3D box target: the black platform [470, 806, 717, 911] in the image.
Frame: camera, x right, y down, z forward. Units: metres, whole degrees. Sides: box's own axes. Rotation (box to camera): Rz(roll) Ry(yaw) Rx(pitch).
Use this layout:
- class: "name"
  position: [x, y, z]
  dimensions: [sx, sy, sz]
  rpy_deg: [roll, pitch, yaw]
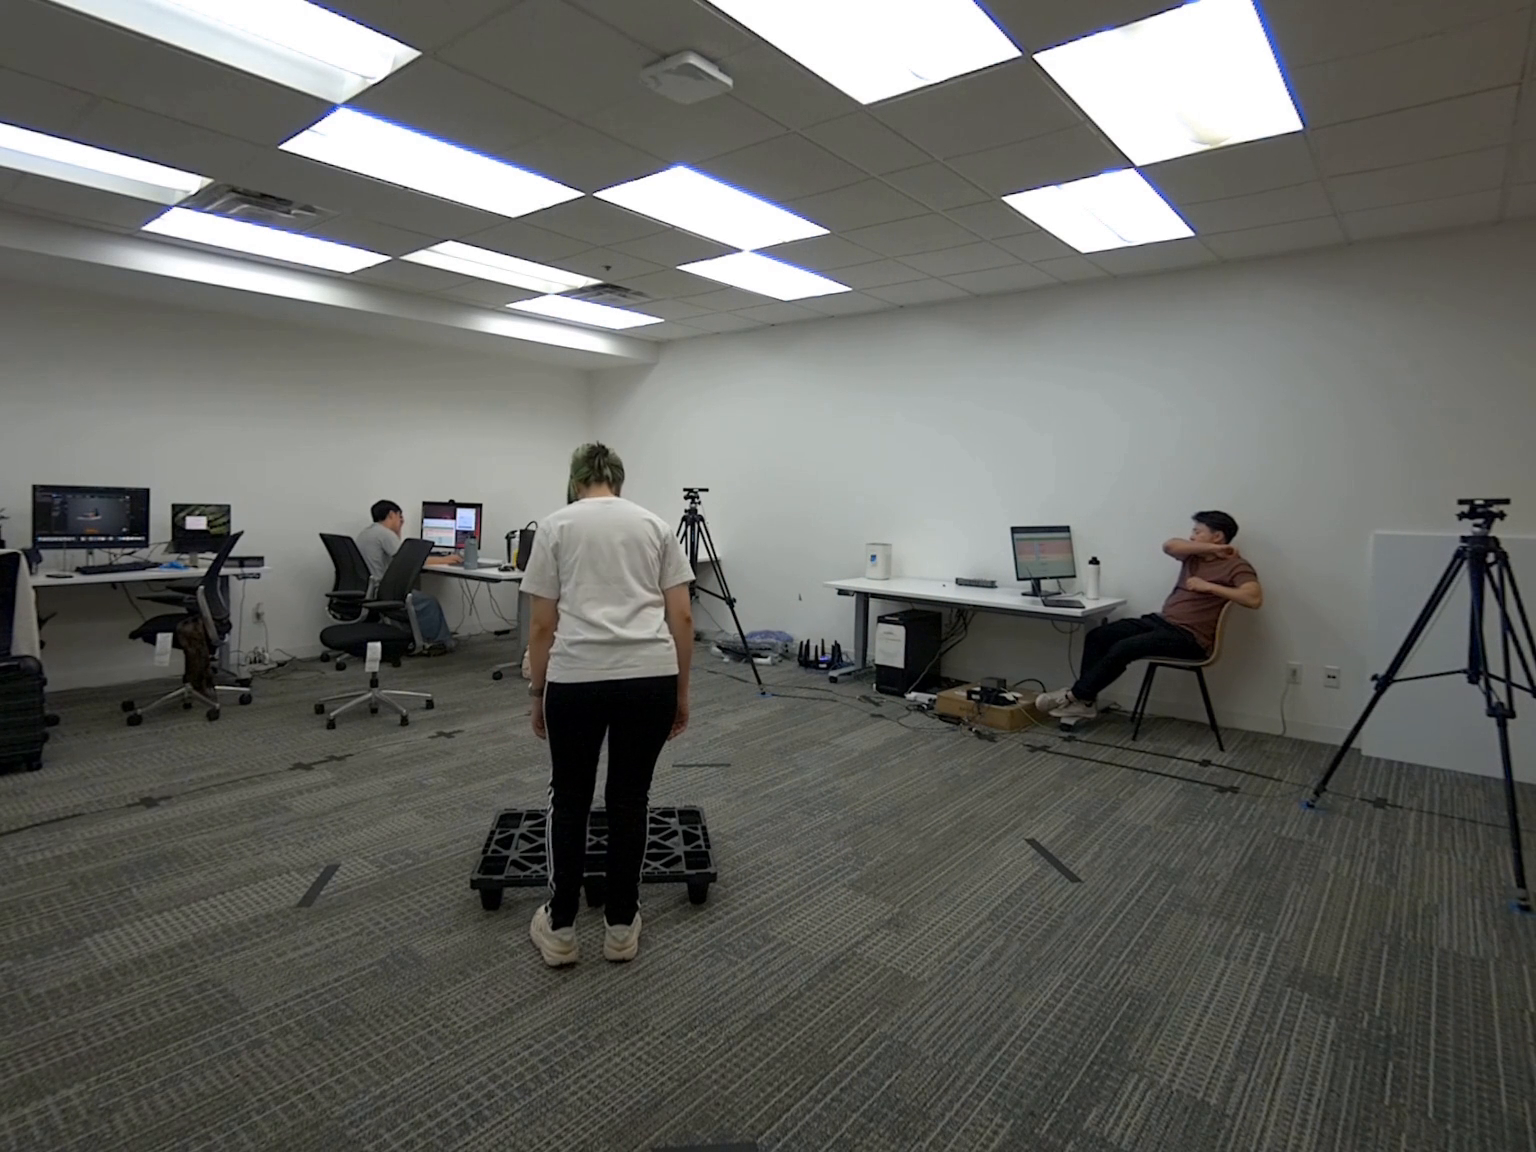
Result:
- class: "black platform"
  position: [-0.611, 0.999, 3.037]
  dimensions: [0.800, 0.143, 0.612]
  rpy_deg: [0, 6, -7]
